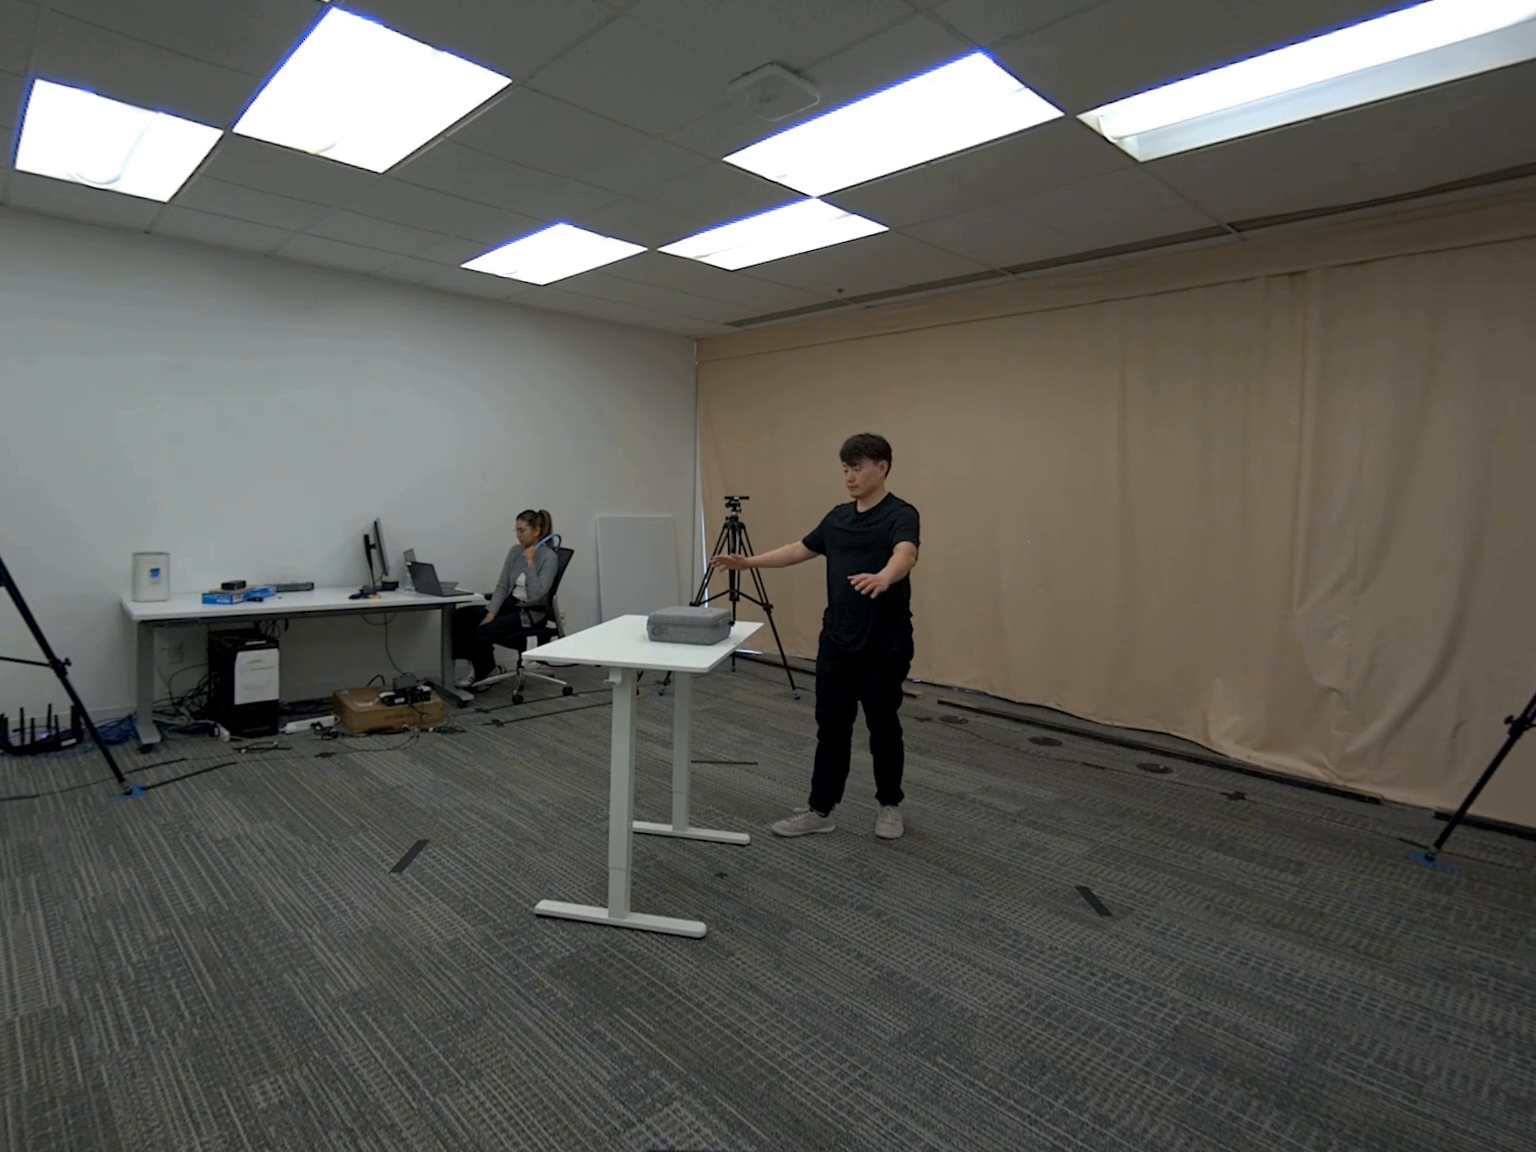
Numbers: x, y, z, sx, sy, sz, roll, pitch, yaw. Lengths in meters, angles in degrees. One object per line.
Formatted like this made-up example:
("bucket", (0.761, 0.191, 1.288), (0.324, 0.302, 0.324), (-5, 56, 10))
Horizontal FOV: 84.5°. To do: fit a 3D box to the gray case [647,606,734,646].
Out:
("gray case", (-0.293, 0.174, 3.024), (0.264, 0.104, 0.254), (2, 6, 15))
